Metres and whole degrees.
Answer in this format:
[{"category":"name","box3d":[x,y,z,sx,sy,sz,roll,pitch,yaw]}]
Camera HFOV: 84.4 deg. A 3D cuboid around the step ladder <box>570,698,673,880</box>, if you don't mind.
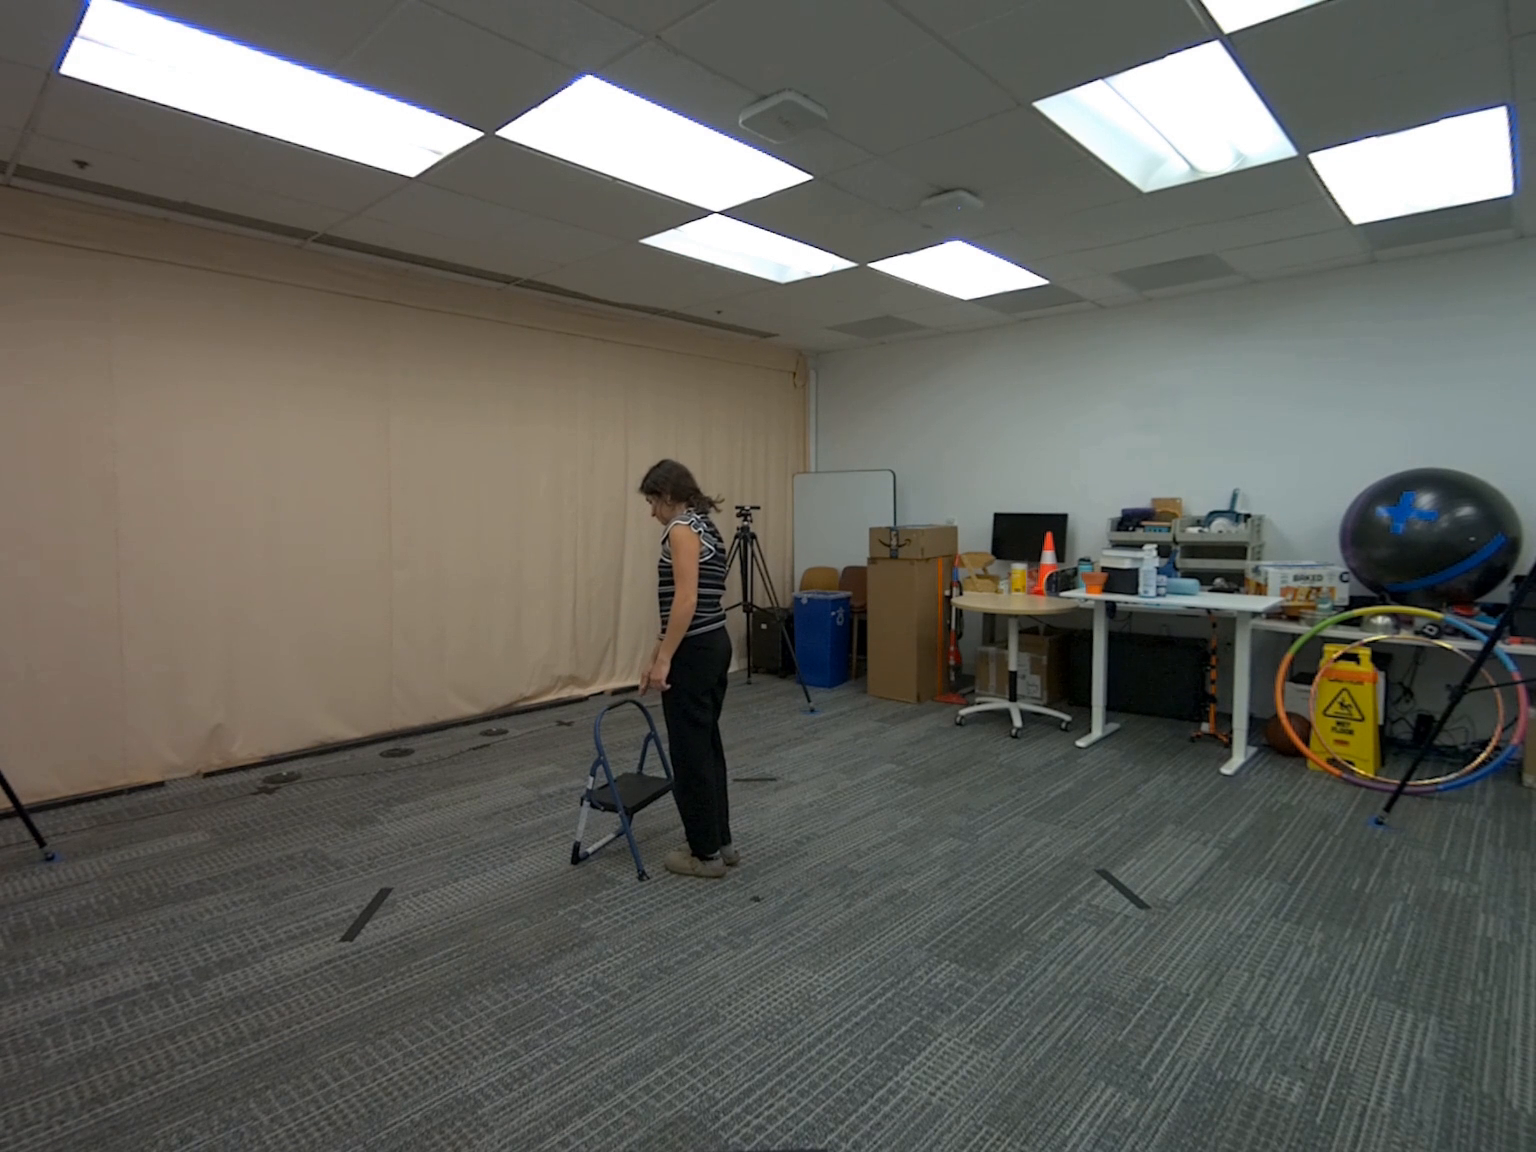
[{"category":"step ladder","box3d":[-0.541,0.815,3.385,0.358,0.605,0.421,1,3,24]}]
